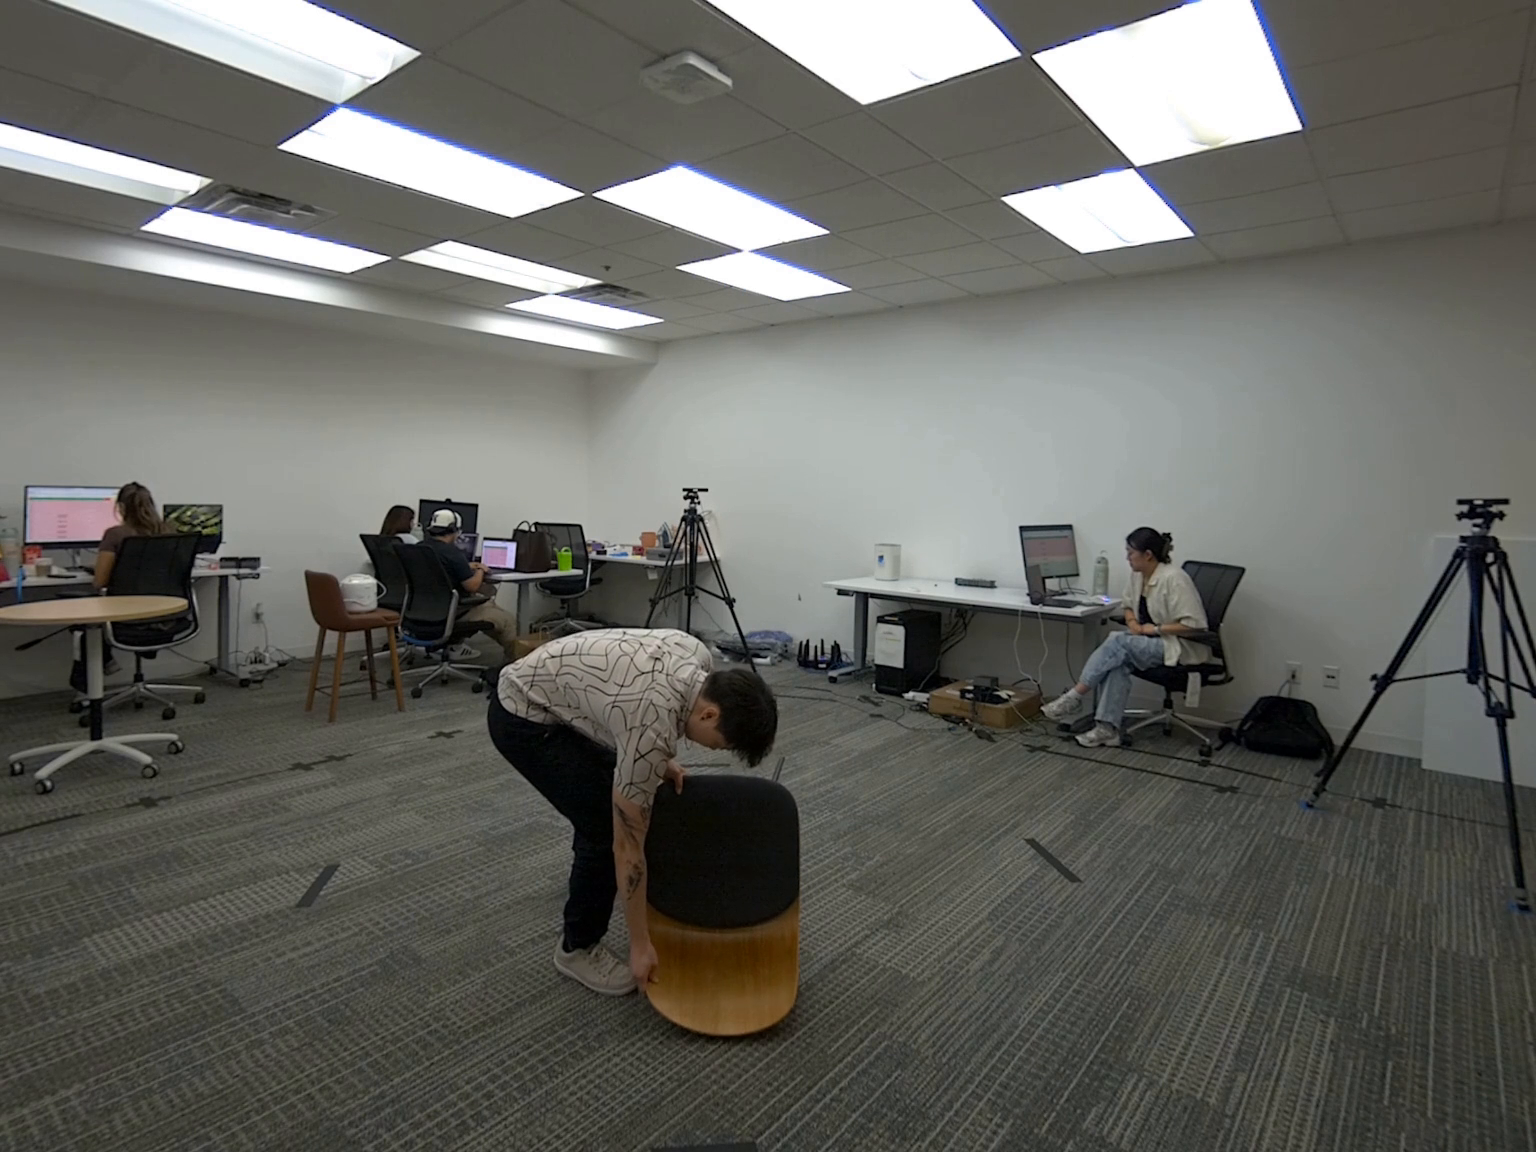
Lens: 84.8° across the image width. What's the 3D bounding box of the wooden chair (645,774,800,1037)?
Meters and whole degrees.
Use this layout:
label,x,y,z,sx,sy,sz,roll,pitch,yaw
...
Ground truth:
label,x,y,z,sx,sy,sz,roll,pitch,yaw
wooden chair,-0.153,0.857,2.552,0.477,0.521,0.883,1,5,-4
